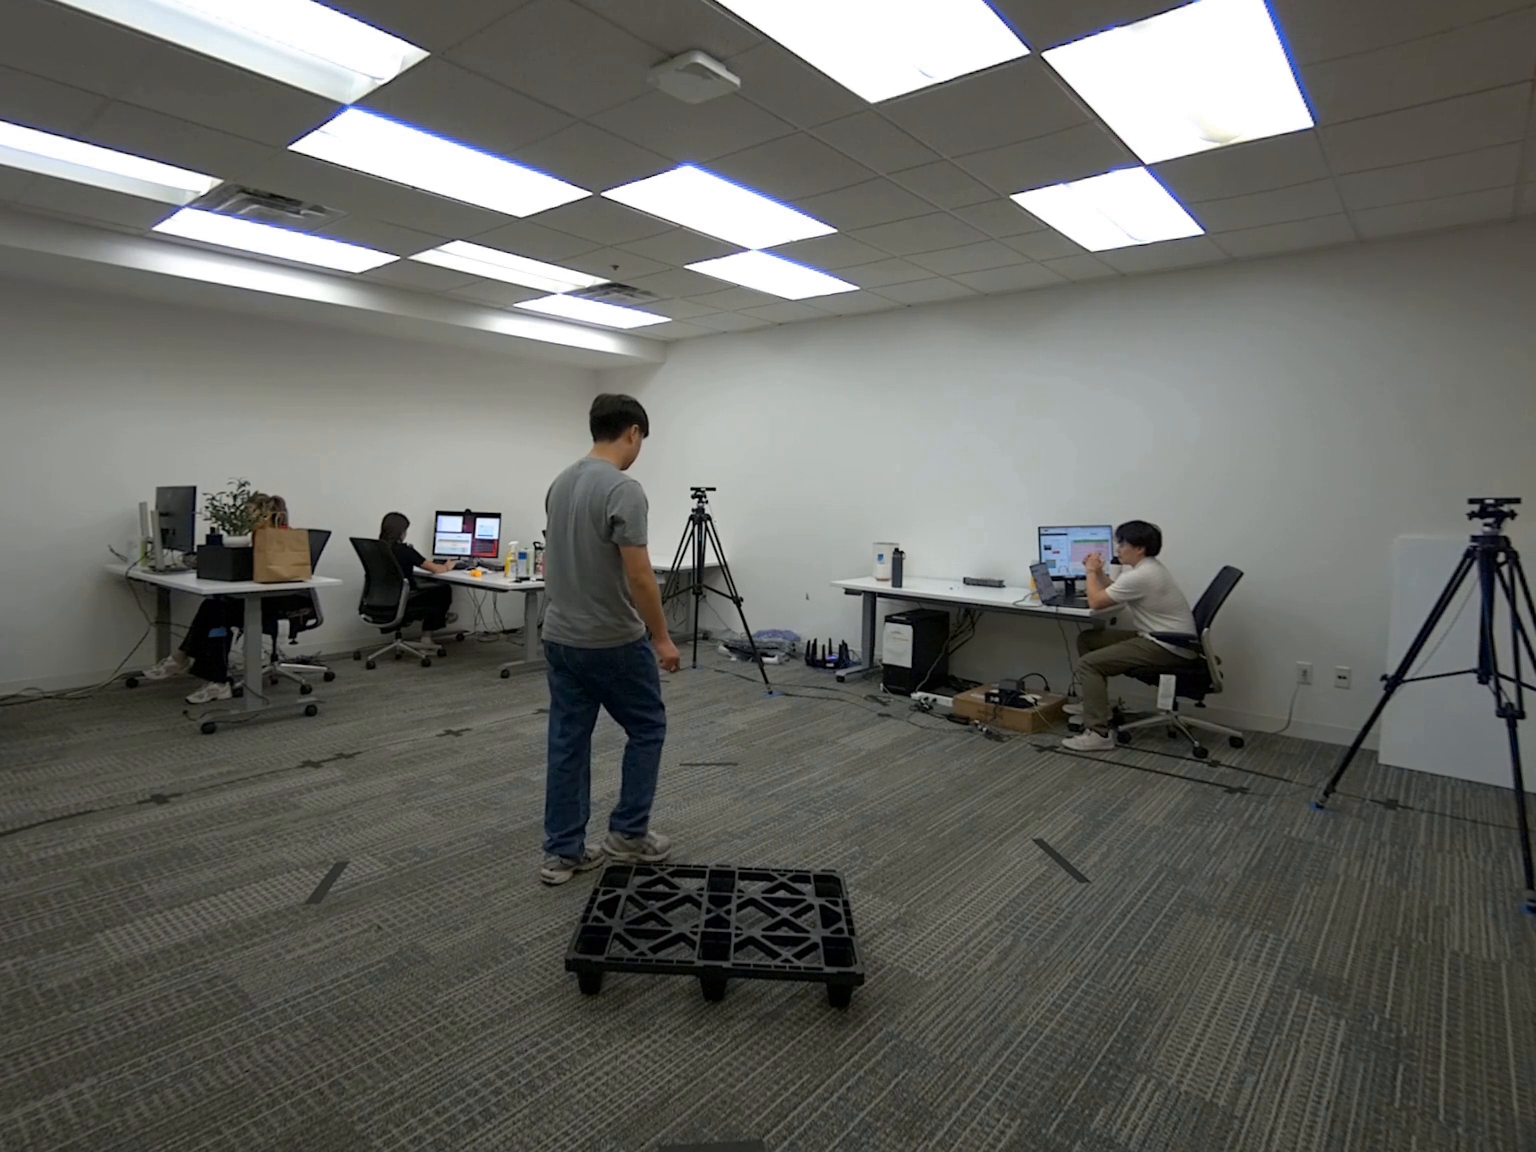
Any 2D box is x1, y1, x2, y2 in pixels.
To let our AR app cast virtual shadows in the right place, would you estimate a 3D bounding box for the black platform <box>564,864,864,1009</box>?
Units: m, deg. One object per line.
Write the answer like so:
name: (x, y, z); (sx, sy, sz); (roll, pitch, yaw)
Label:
black platform: (-0.158, 1.054, 2.537); (0.808, 0.143, 0.606); (2, 5, 1)
